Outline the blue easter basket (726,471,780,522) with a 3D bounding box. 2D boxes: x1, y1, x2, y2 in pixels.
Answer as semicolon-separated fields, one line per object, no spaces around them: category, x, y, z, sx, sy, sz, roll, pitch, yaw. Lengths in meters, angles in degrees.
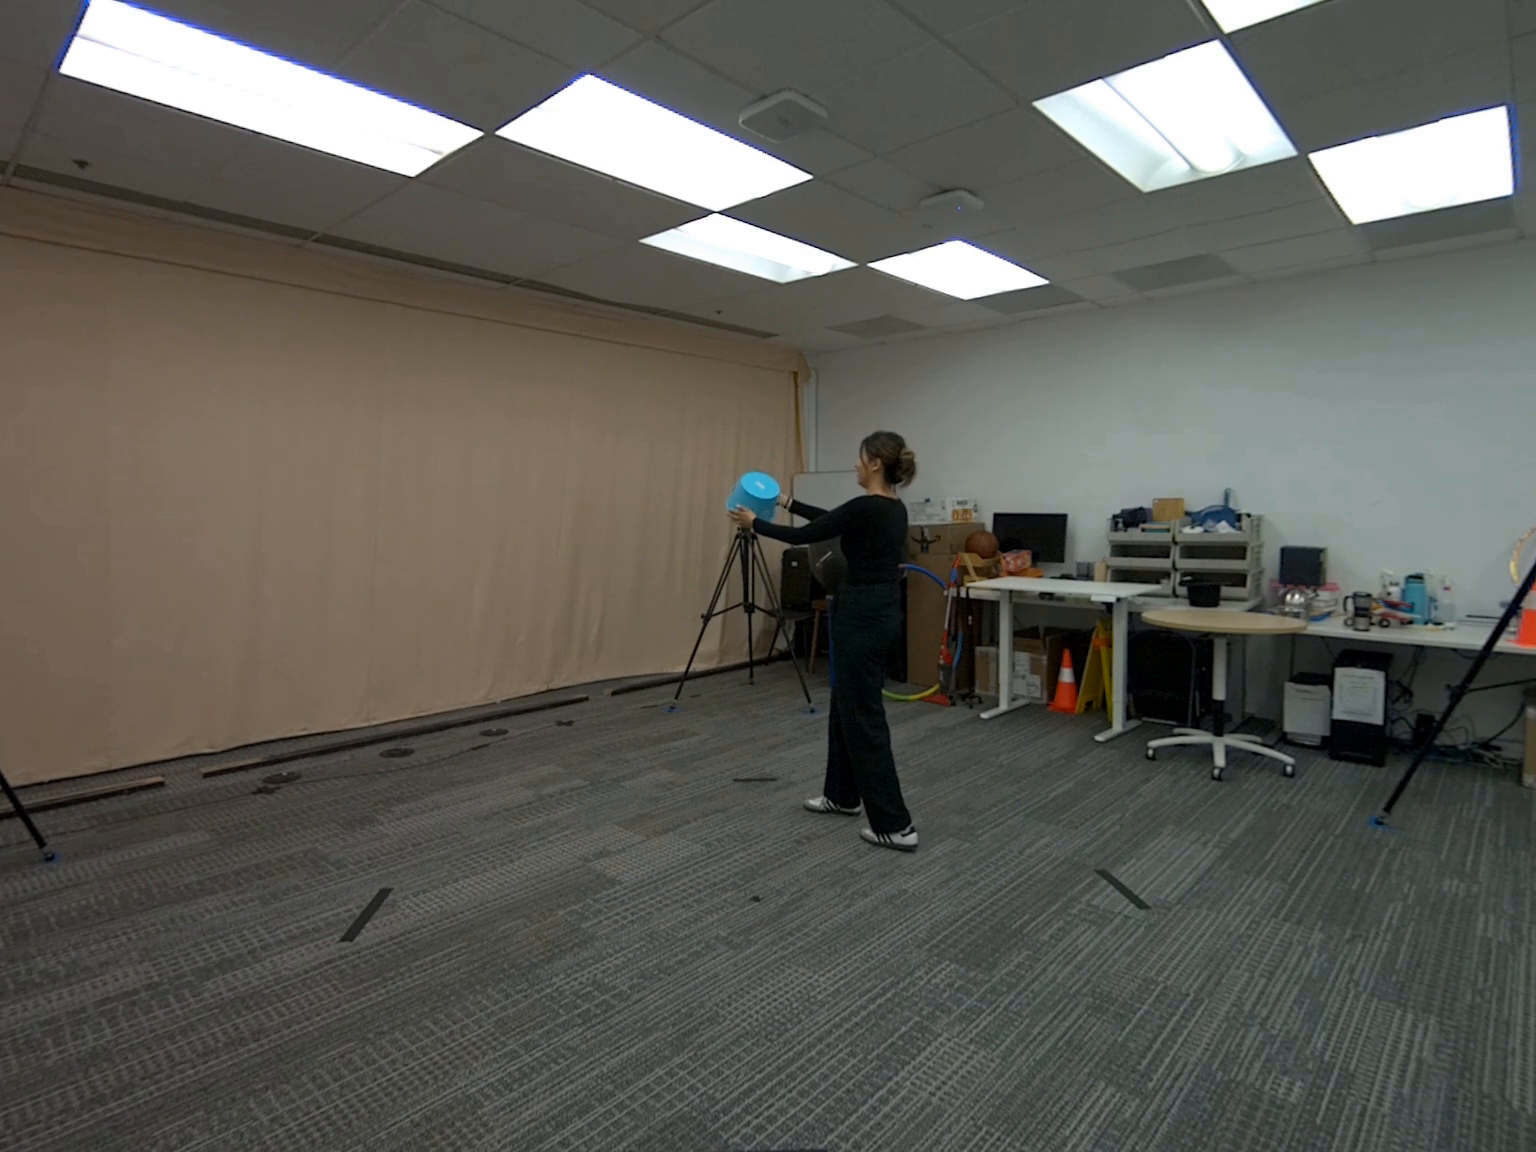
blue easter basket;-0.055;-0.361;3.806;0.240;0.248;0.155;9;-44;-11
